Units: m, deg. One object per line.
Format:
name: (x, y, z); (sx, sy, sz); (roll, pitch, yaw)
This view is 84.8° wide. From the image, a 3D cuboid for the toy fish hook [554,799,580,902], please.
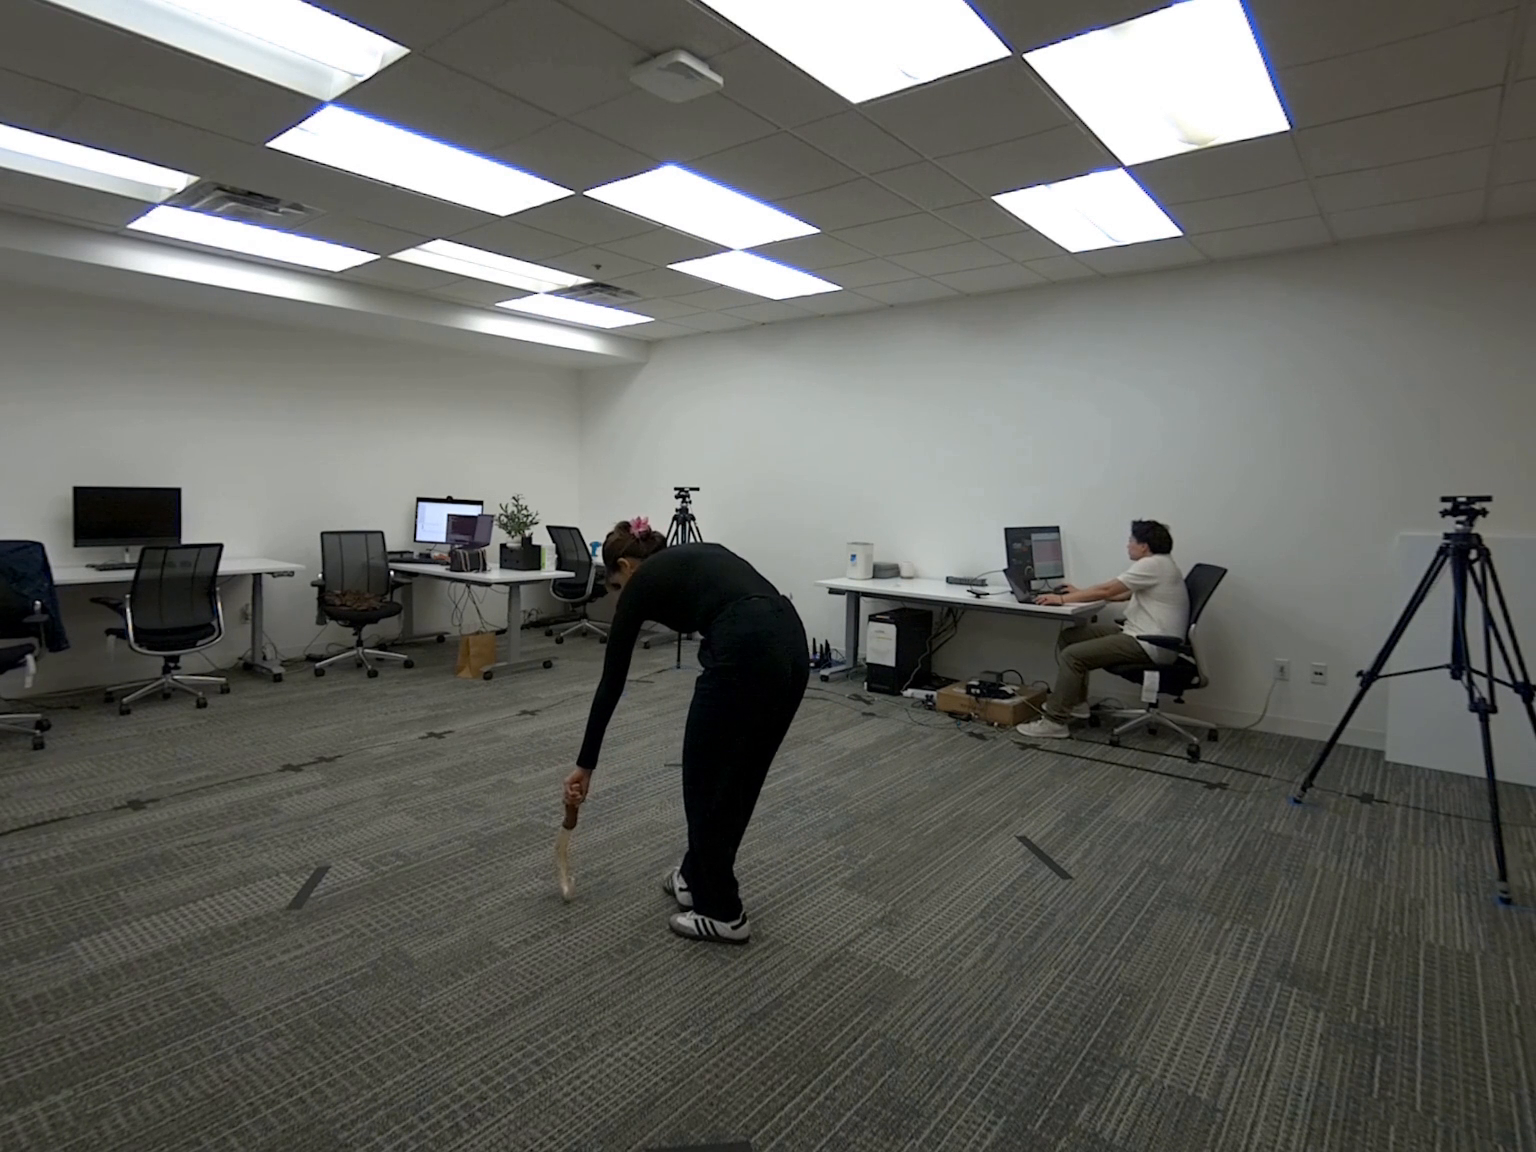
toy fish hook: (-0.656, 0.867, 2.750); (0.047, 0.496, 0.234); (-6, 43, -24)
